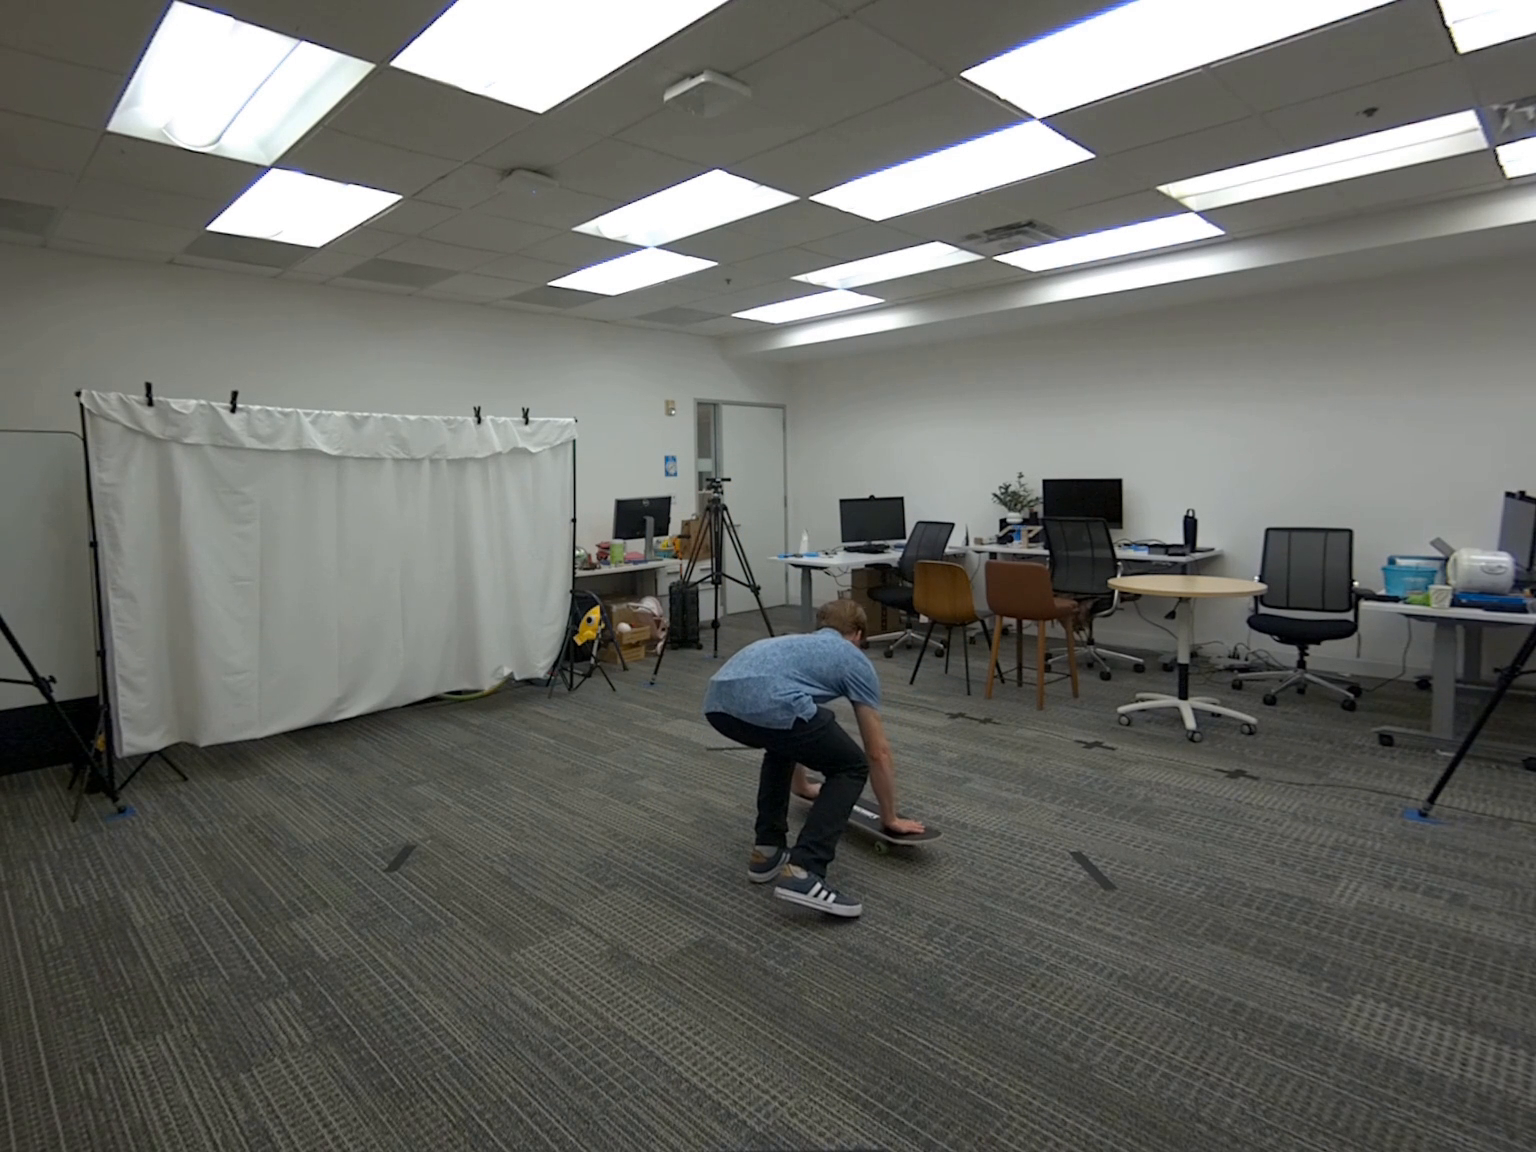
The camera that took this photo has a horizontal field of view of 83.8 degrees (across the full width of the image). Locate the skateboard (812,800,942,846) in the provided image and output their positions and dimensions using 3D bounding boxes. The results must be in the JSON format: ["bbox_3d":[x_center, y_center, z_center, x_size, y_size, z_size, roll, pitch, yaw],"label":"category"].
[{"bbox_3d":[0.364,0.953,3.357,0.188,0.110,0.809,-1,5,-35],"label":"skateboard"}]
